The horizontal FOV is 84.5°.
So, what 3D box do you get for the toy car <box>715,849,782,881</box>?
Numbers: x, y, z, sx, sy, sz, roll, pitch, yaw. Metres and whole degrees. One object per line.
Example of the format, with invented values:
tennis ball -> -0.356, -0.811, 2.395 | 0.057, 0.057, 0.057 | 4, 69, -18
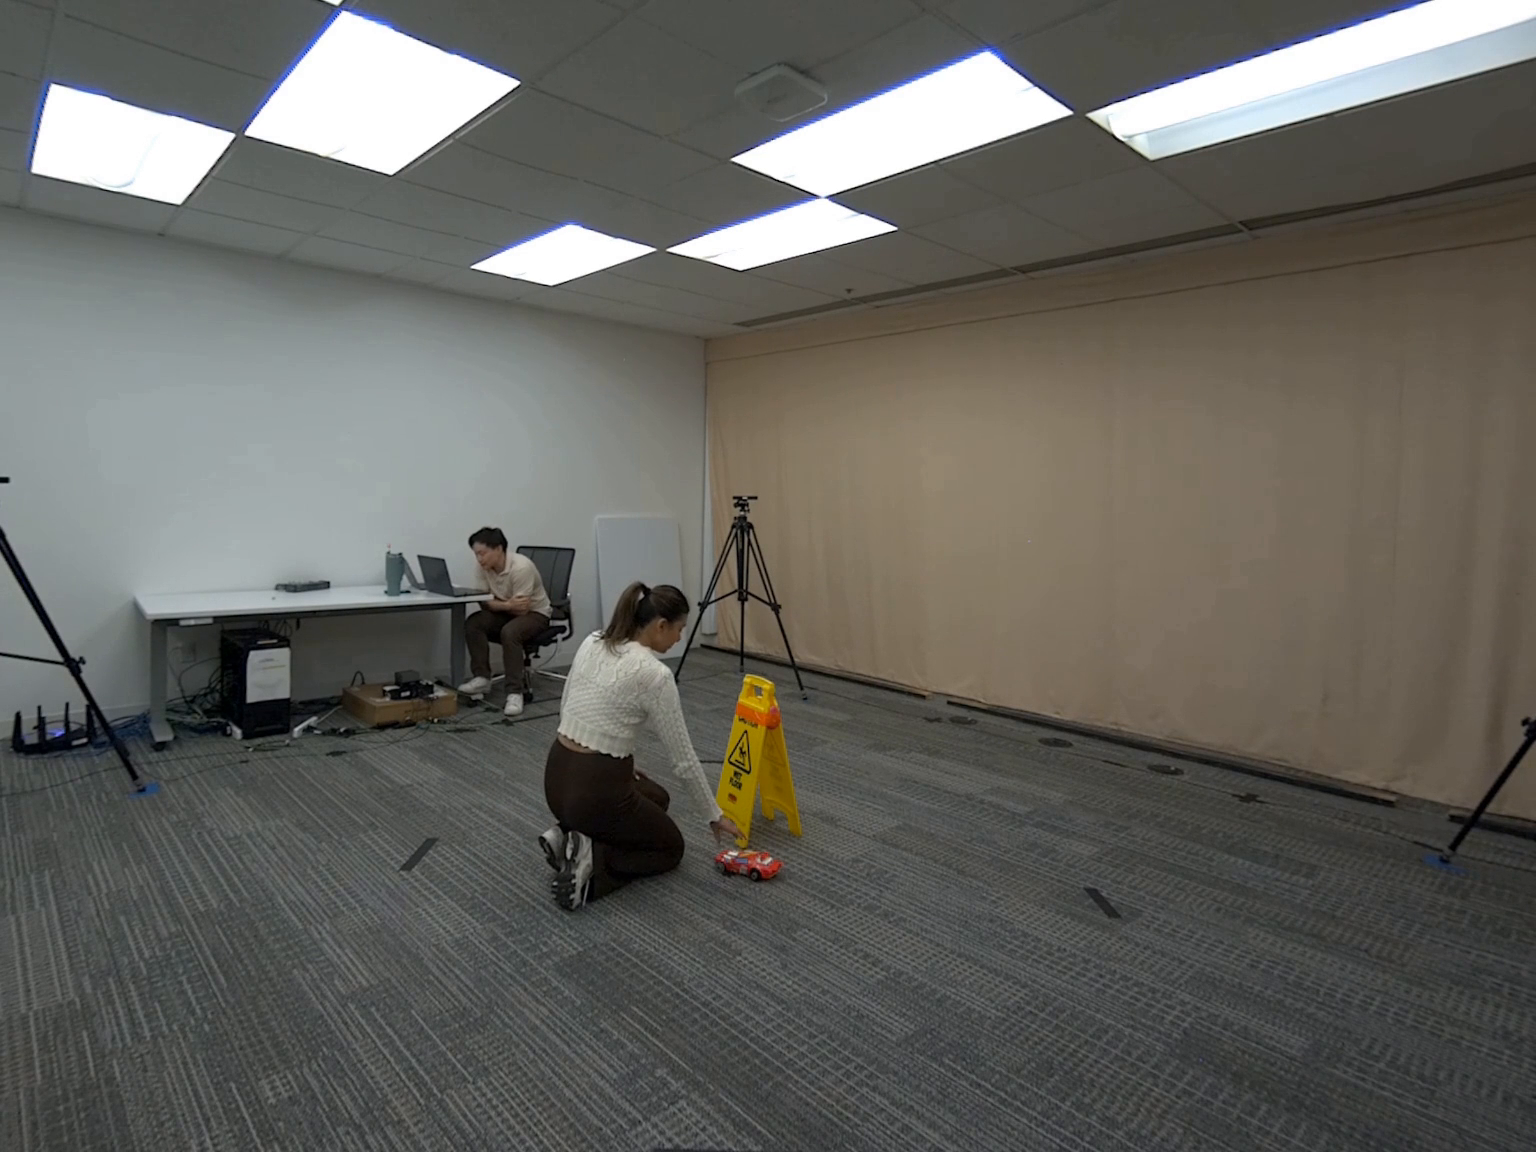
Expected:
toy car -> -0.083, 1.072, 3.118 | 0.259, 0.083, 0.128 | -7, -2, 27
